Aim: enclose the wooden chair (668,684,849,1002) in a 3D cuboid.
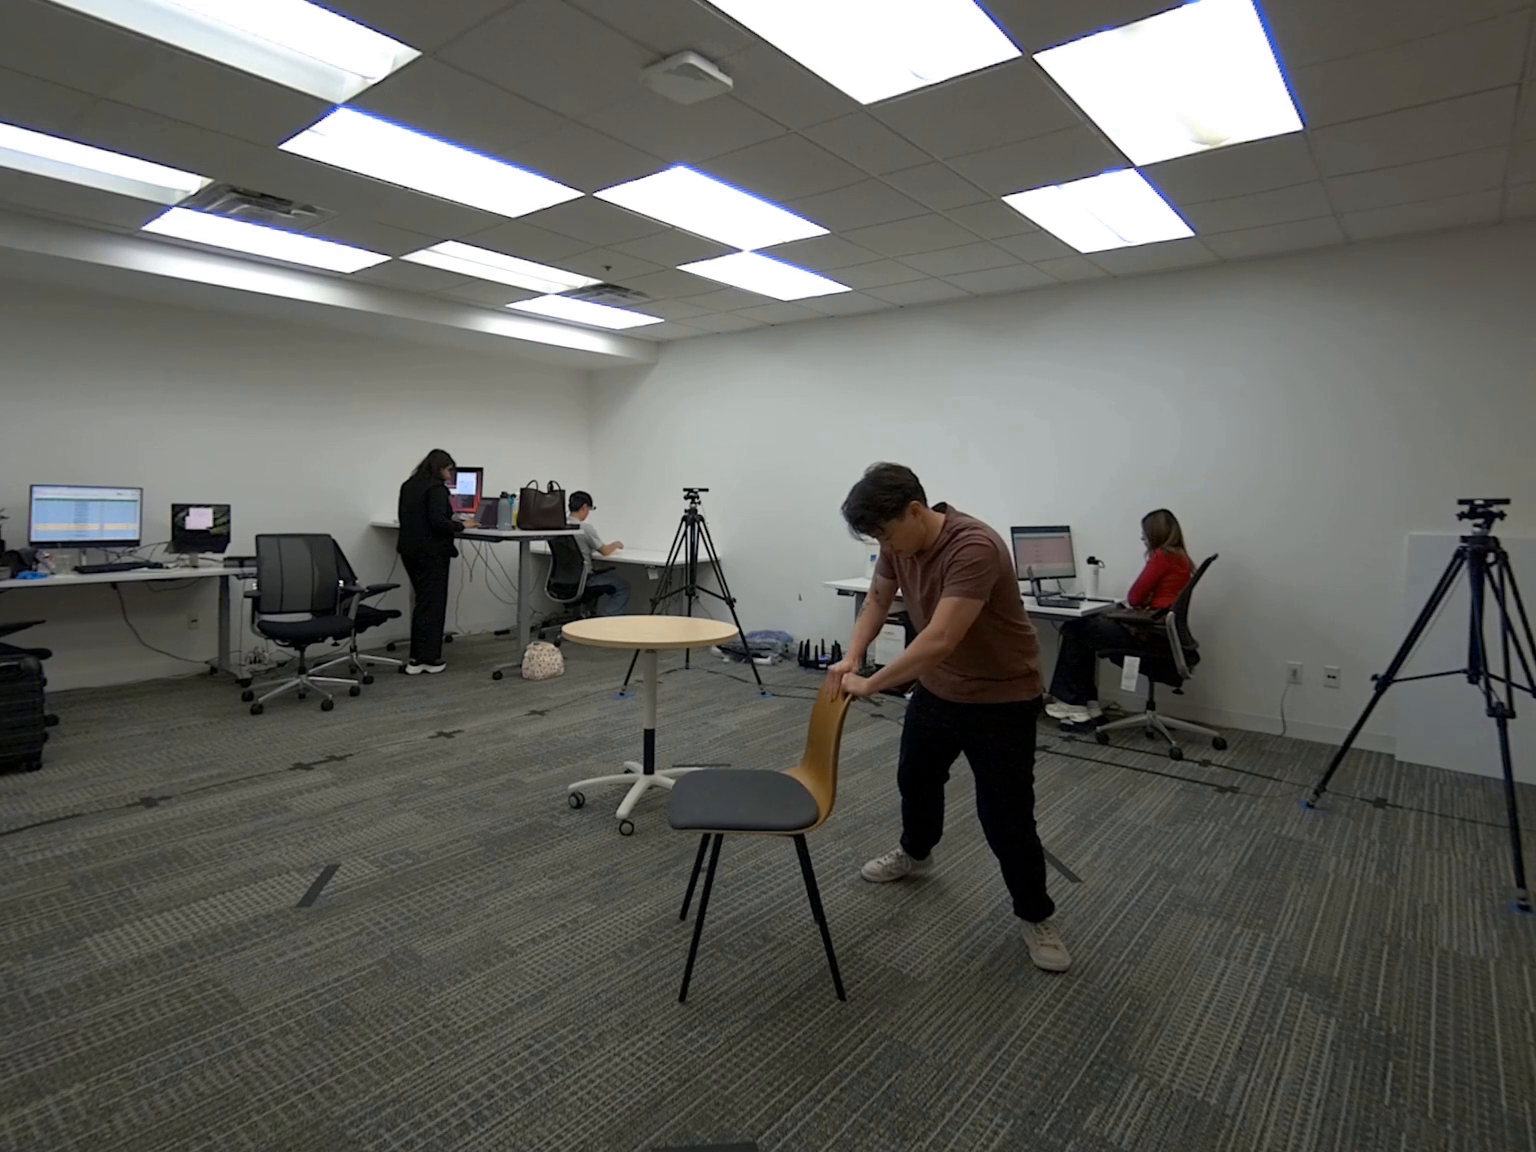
[{"bbox_3d":[-0.042,0.705,2.508,0.521,0.875,0.482,5,4,-5],"label":"wooden chair"}]
